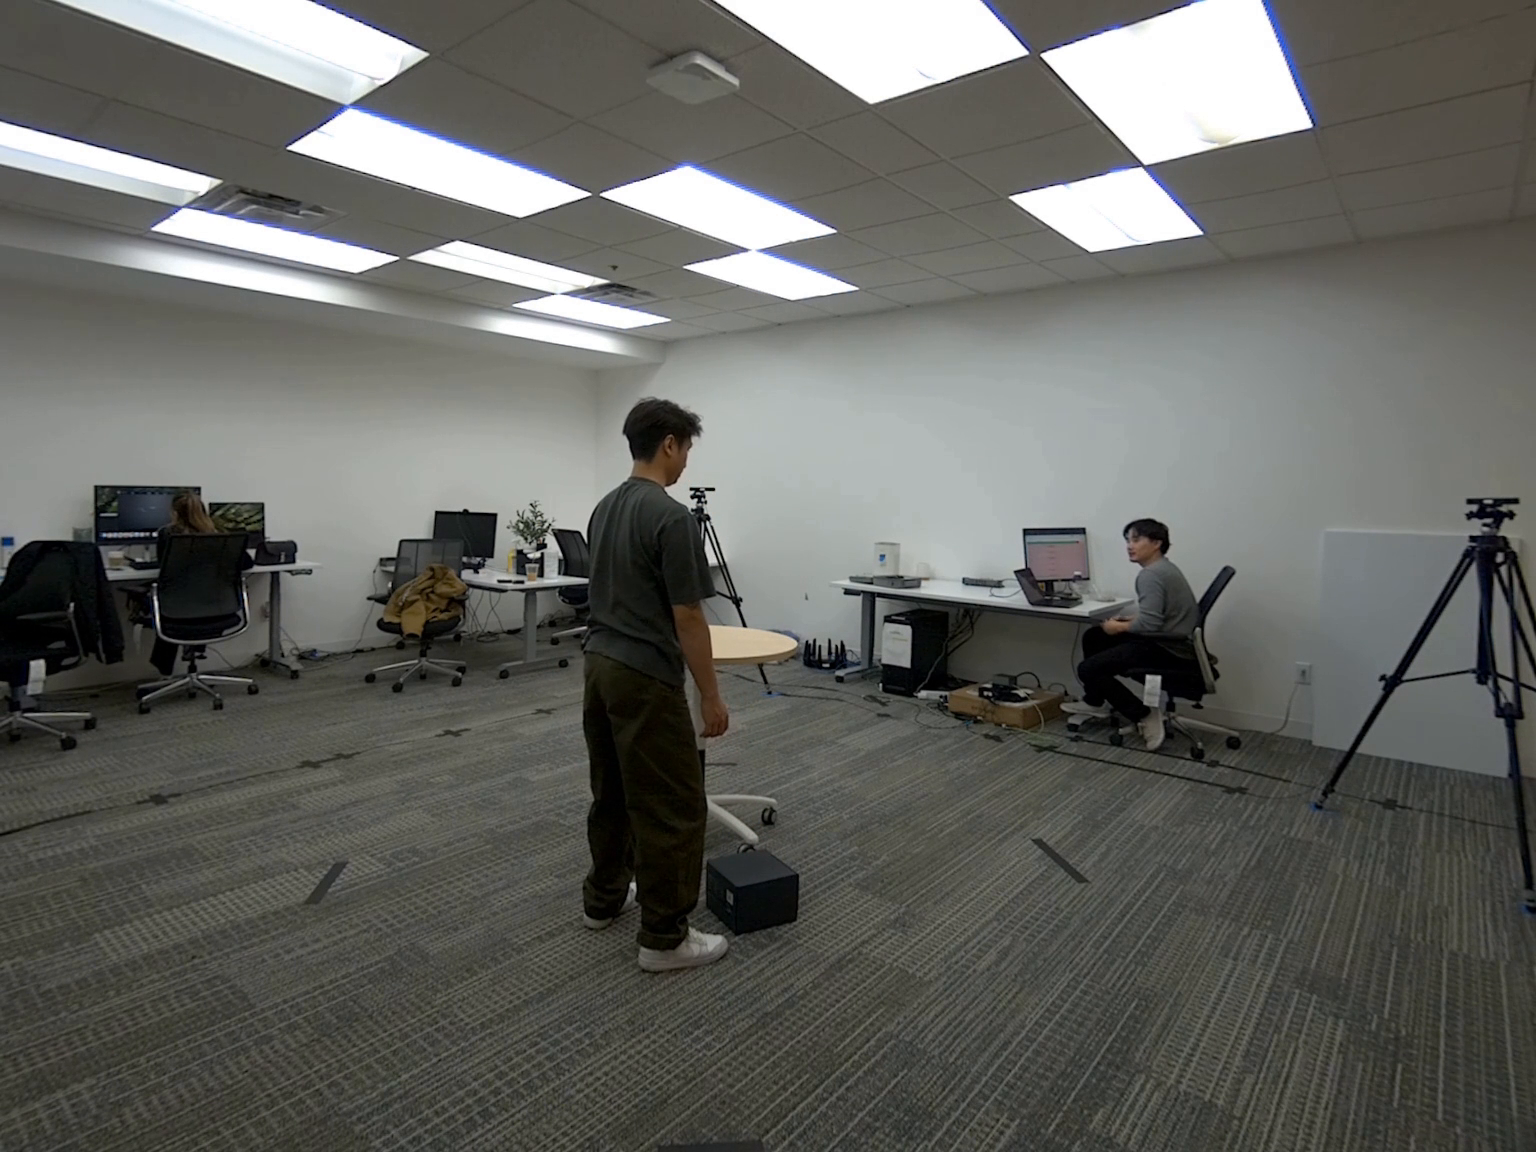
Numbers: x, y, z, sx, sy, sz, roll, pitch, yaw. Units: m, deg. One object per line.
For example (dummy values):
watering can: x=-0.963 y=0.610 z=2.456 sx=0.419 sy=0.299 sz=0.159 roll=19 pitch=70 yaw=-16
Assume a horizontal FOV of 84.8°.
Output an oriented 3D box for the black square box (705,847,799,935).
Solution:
black square box: x=-0.063 y=1.019 z=2.776 sx=0.222 sy=0.155 sz=0.223 roll=-1 pitch=5 yaw=-30
